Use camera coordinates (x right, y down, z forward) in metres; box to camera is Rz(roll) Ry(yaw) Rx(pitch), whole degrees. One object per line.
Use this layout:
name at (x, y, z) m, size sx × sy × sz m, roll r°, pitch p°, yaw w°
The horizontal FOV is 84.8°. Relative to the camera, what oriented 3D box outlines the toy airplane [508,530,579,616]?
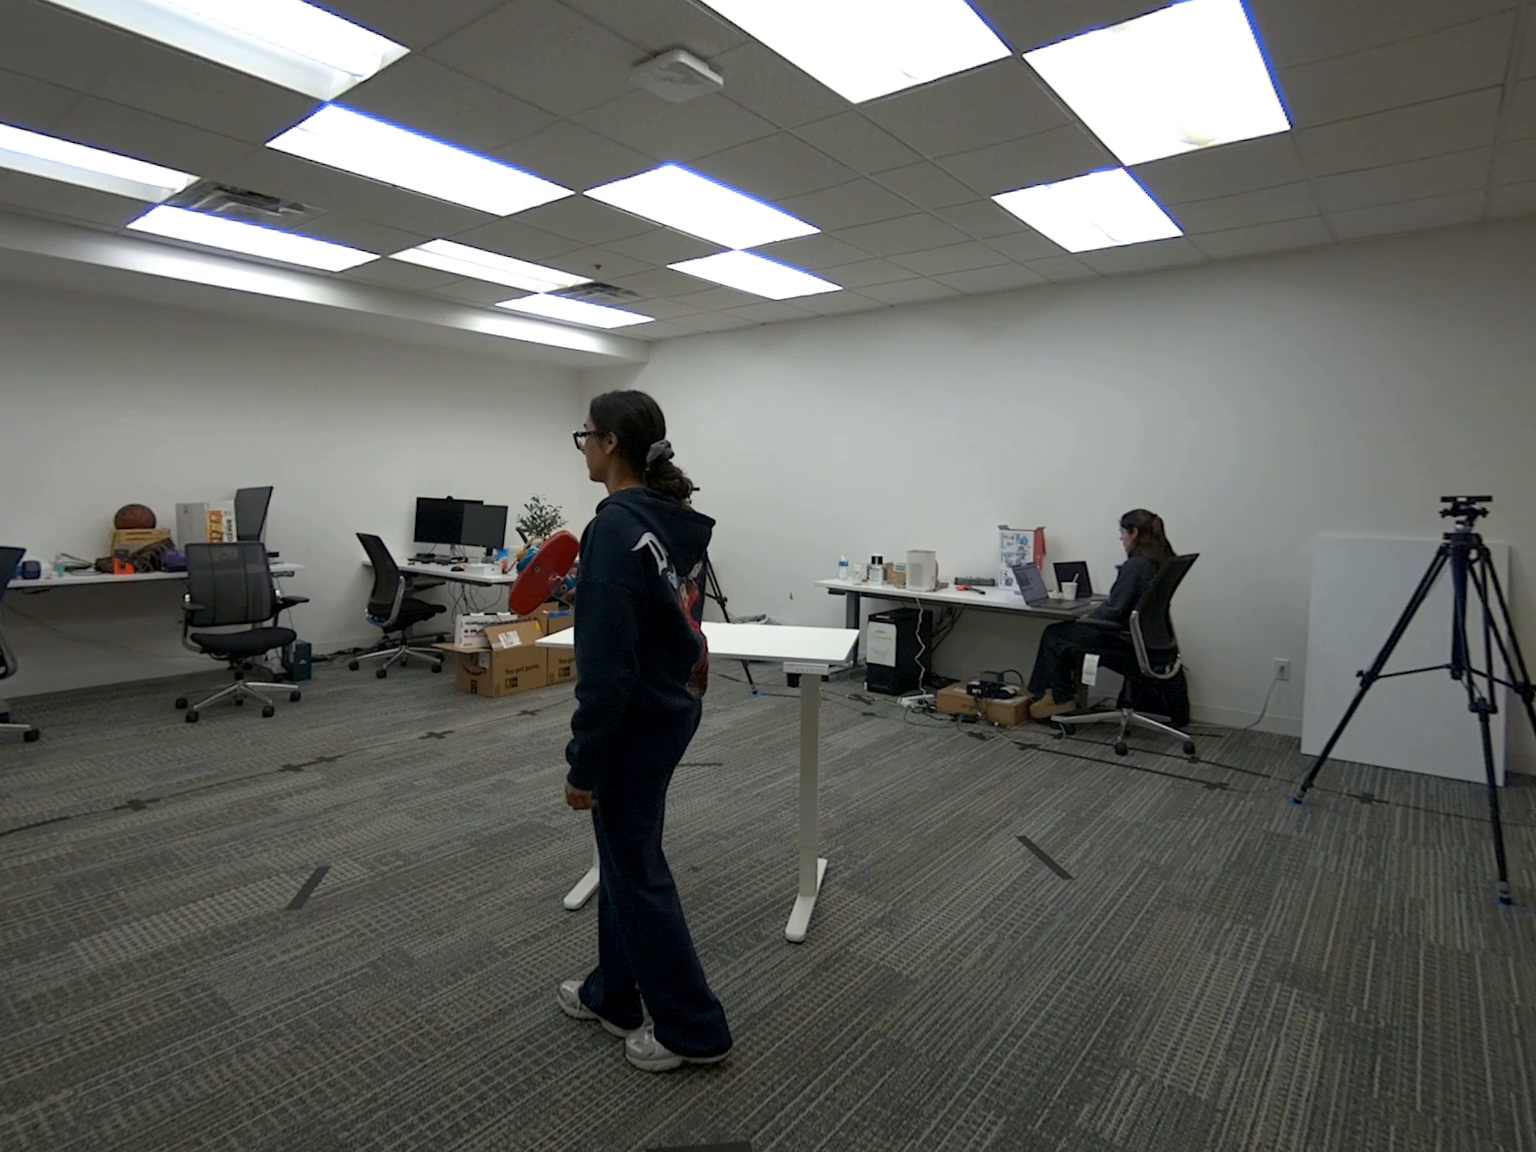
toy airplane at (-0.584, 0.000, 2.382) m, size 0.260 × 0.251 × 0.156 m, roll 9°, pitch -2°, yaw 1°
